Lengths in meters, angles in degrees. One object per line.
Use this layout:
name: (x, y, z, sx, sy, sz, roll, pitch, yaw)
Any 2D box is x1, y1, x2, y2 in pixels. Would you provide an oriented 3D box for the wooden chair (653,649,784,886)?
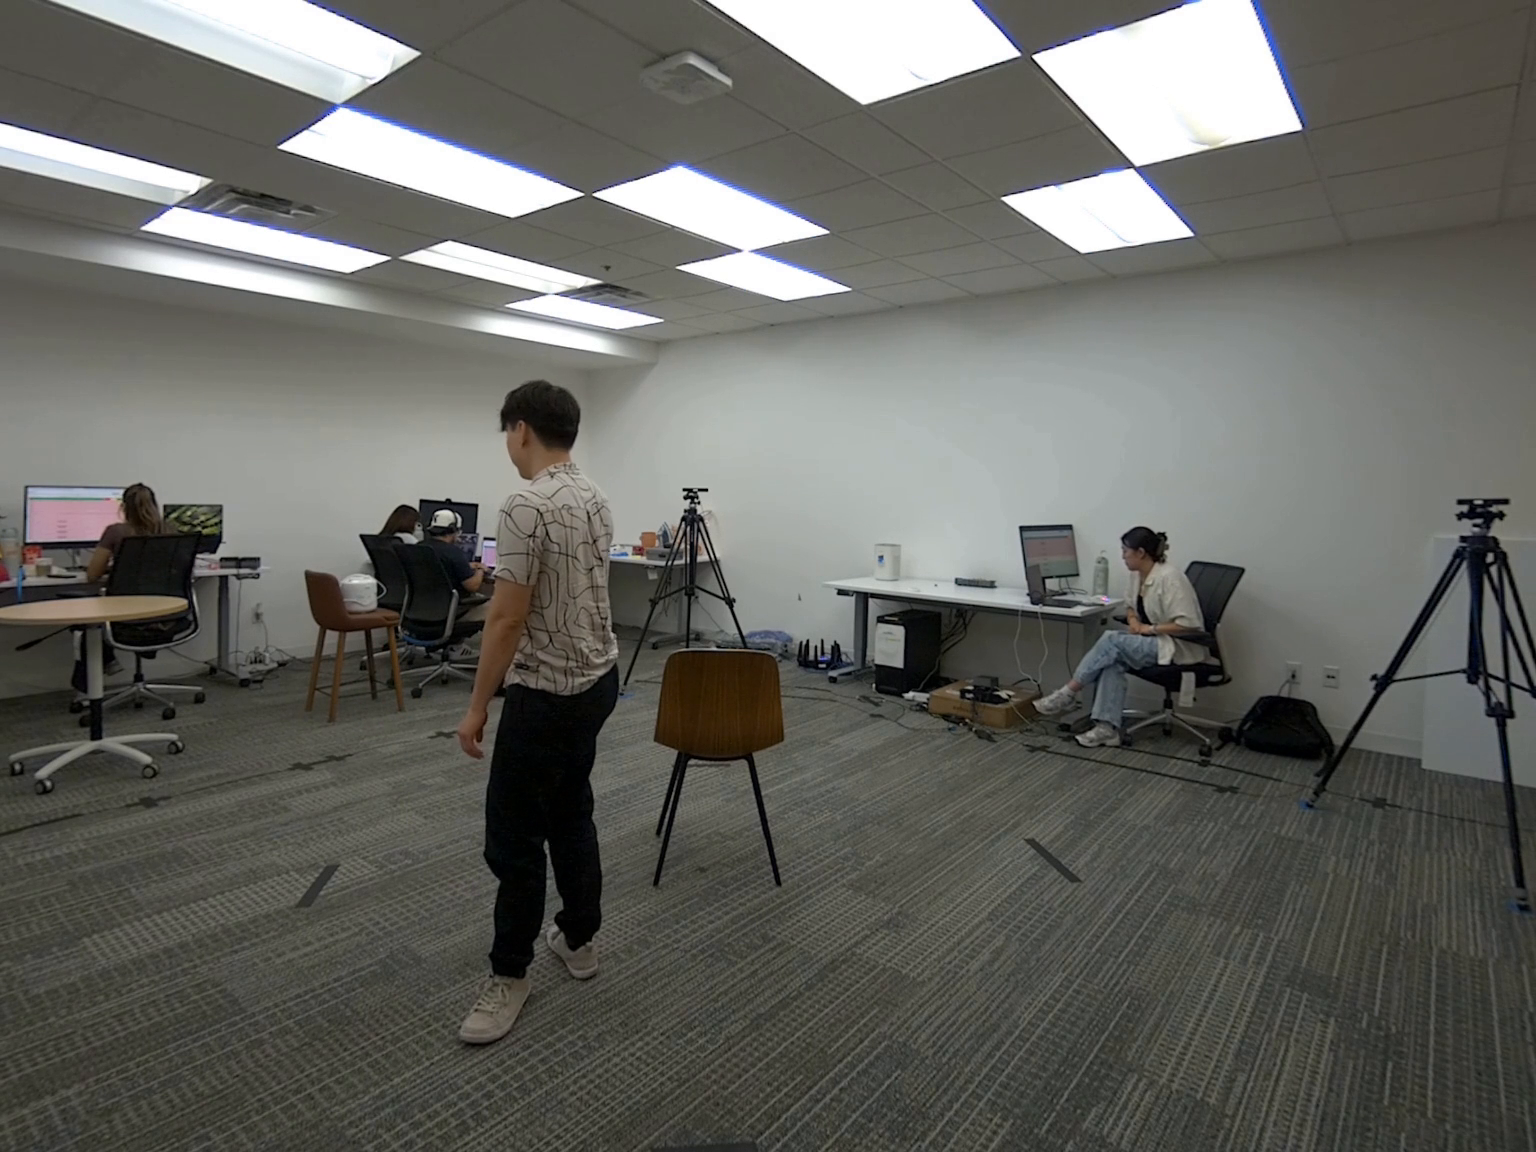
wooden chair: (-0.206, 0.636, 3.180, 0.476, 0.871, 0.529, 1, 7, -6)
